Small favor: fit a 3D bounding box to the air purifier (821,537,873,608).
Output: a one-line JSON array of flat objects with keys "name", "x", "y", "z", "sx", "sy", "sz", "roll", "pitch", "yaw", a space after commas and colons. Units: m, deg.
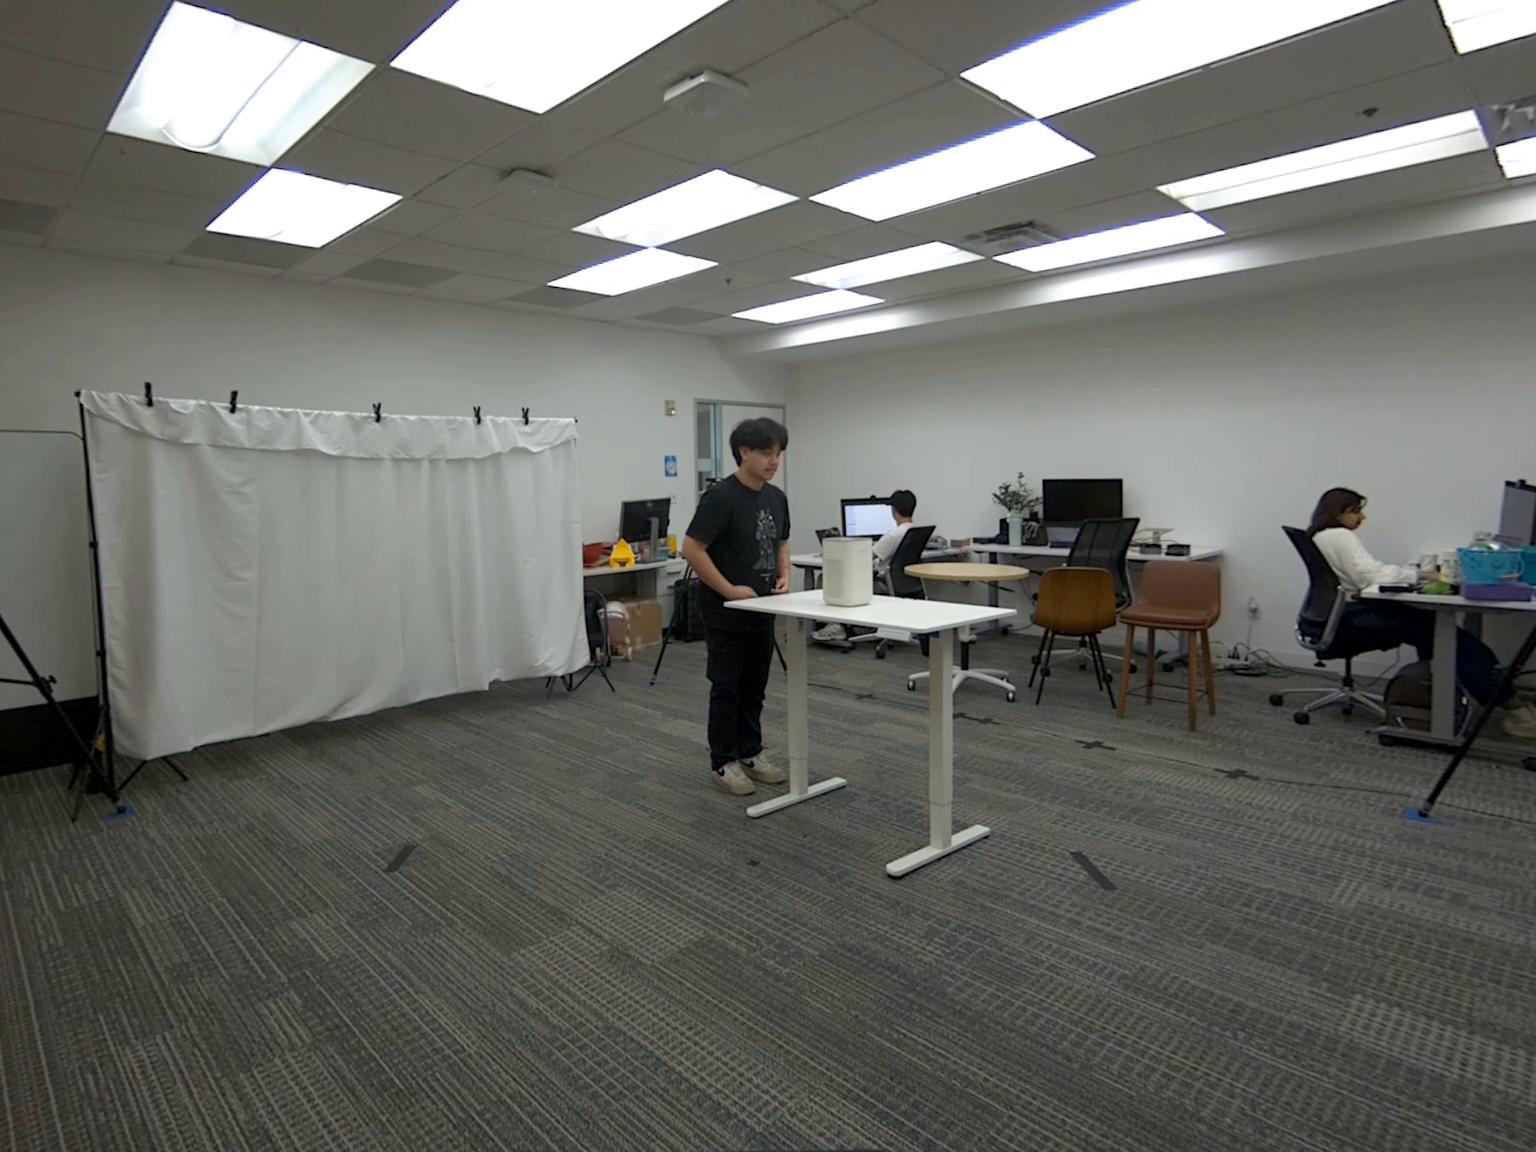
[{"name": "air purifier", "x": 0.318, "y": -0.021, "z": 3.439, "sx": 0.166, "sy": 0.264, "sz": 0.177, "roll": -3, "pitch": 5, "yaw": -43}]
